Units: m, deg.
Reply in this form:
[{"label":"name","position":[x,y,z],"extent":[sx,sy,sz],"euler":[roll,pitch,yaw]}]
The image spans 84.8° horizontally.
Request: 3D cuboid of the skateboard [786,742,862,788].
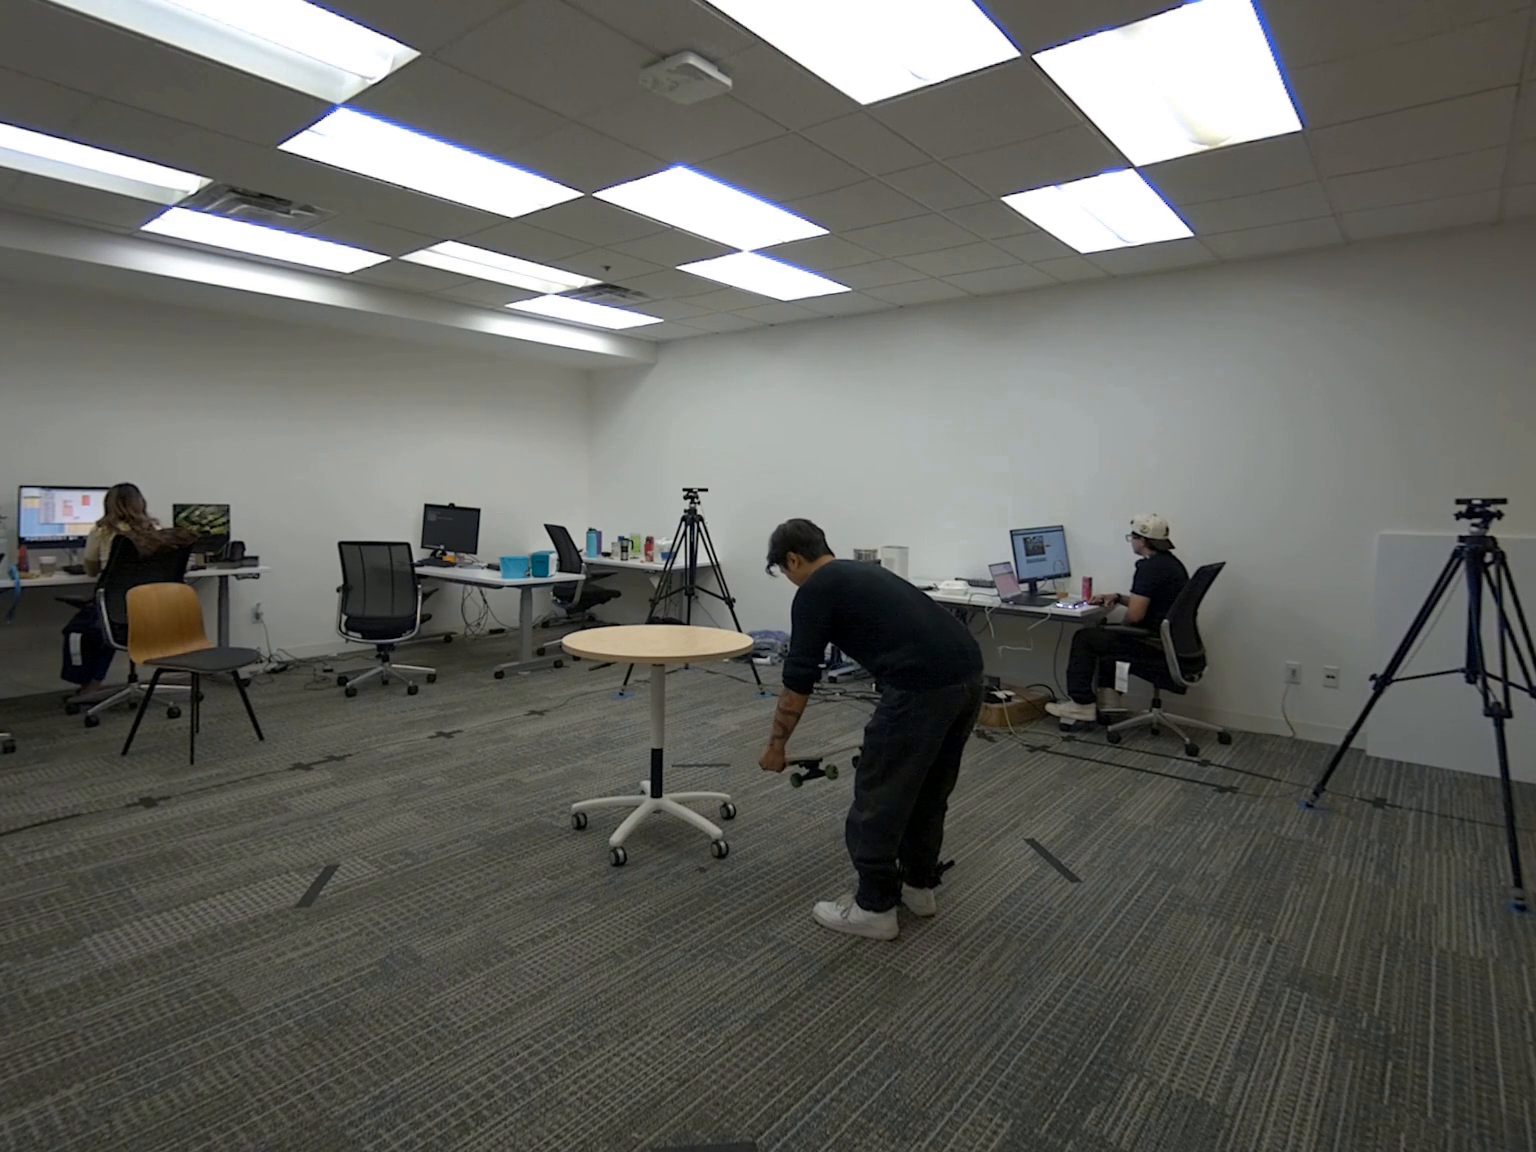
[{"label":"skateboard","position":[0.254,0.653,3.079],"extent":[0.196,0.112,0.760],"euler":[-24,-15,37]}]
